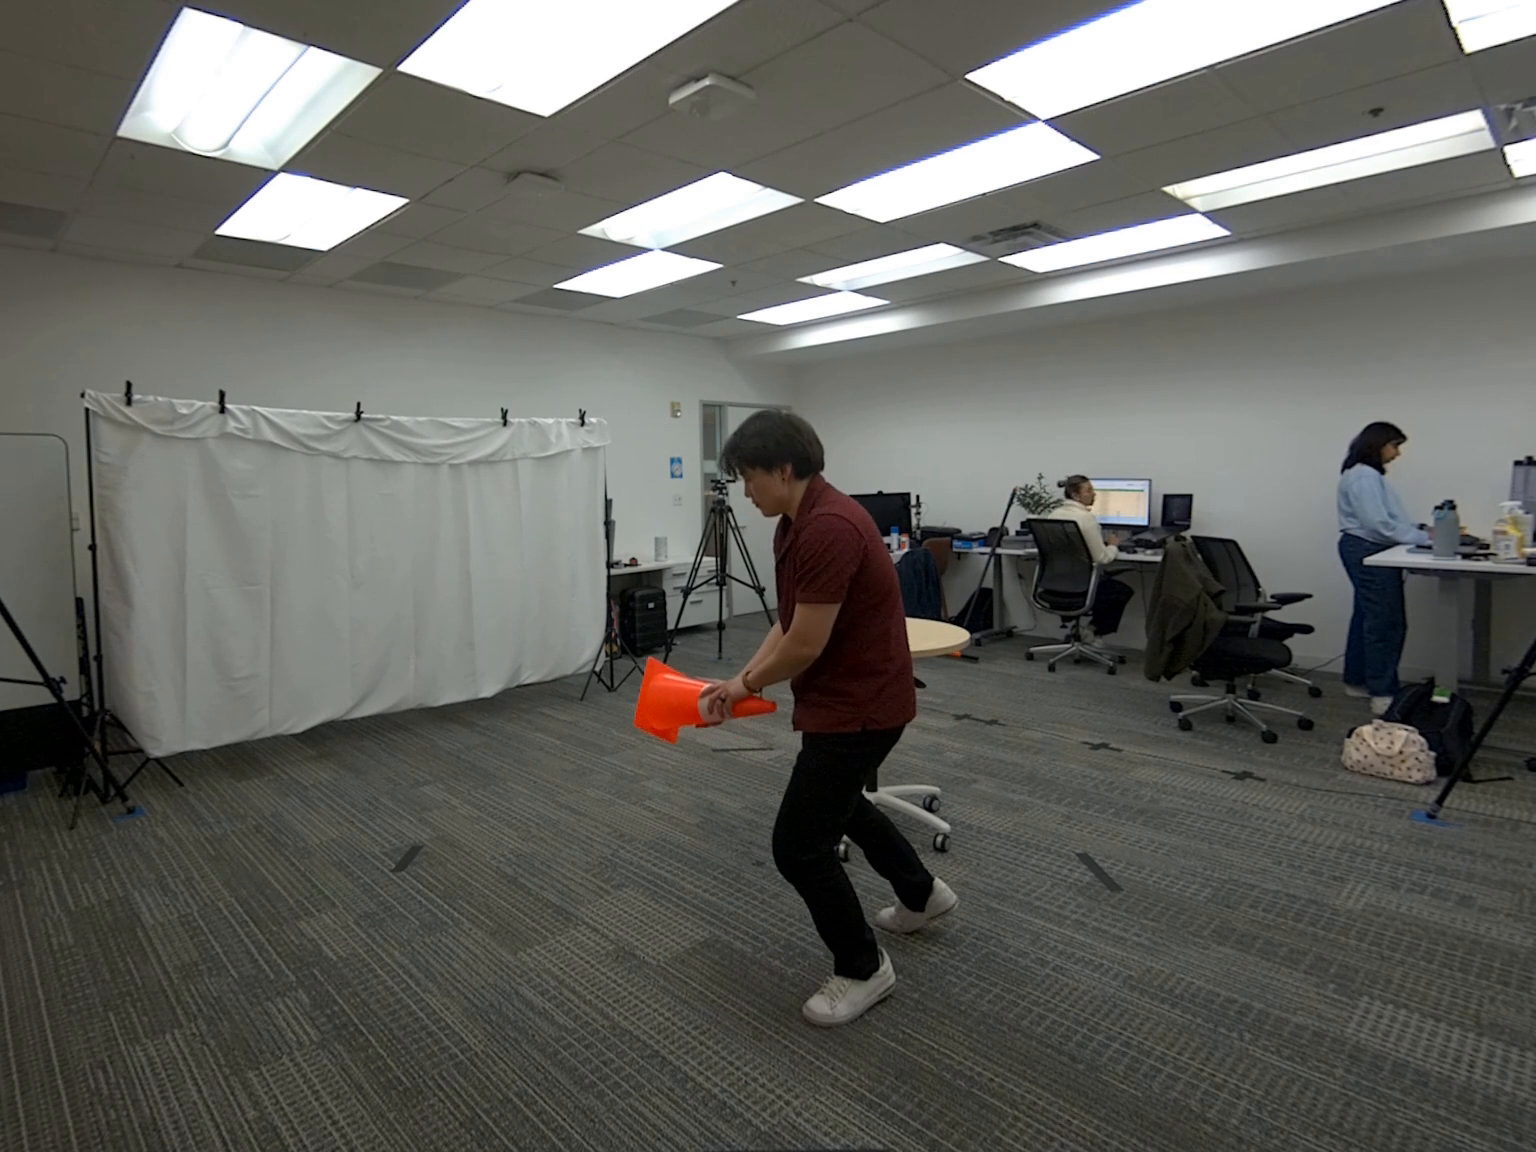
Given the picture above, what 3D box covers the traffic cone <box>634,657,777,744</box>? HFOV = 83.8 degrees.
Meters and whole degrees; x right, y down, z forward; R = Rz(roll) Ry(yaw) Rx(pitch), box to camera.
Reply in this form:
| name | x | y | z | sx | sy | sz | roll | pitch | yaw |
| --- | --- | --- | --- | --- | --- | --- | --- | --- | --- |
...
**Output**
| name | x | y | z | sx | sy | sz | roll | pitch | yaw |
| --- | --- | --- | --- | --- | --- | --- | --- | --- | --- |
| traffic cone | -0.132 | 0.348 | 2.318 | 0.393 | 0.206 | 0.197 | -4 | -27 | 34 |
